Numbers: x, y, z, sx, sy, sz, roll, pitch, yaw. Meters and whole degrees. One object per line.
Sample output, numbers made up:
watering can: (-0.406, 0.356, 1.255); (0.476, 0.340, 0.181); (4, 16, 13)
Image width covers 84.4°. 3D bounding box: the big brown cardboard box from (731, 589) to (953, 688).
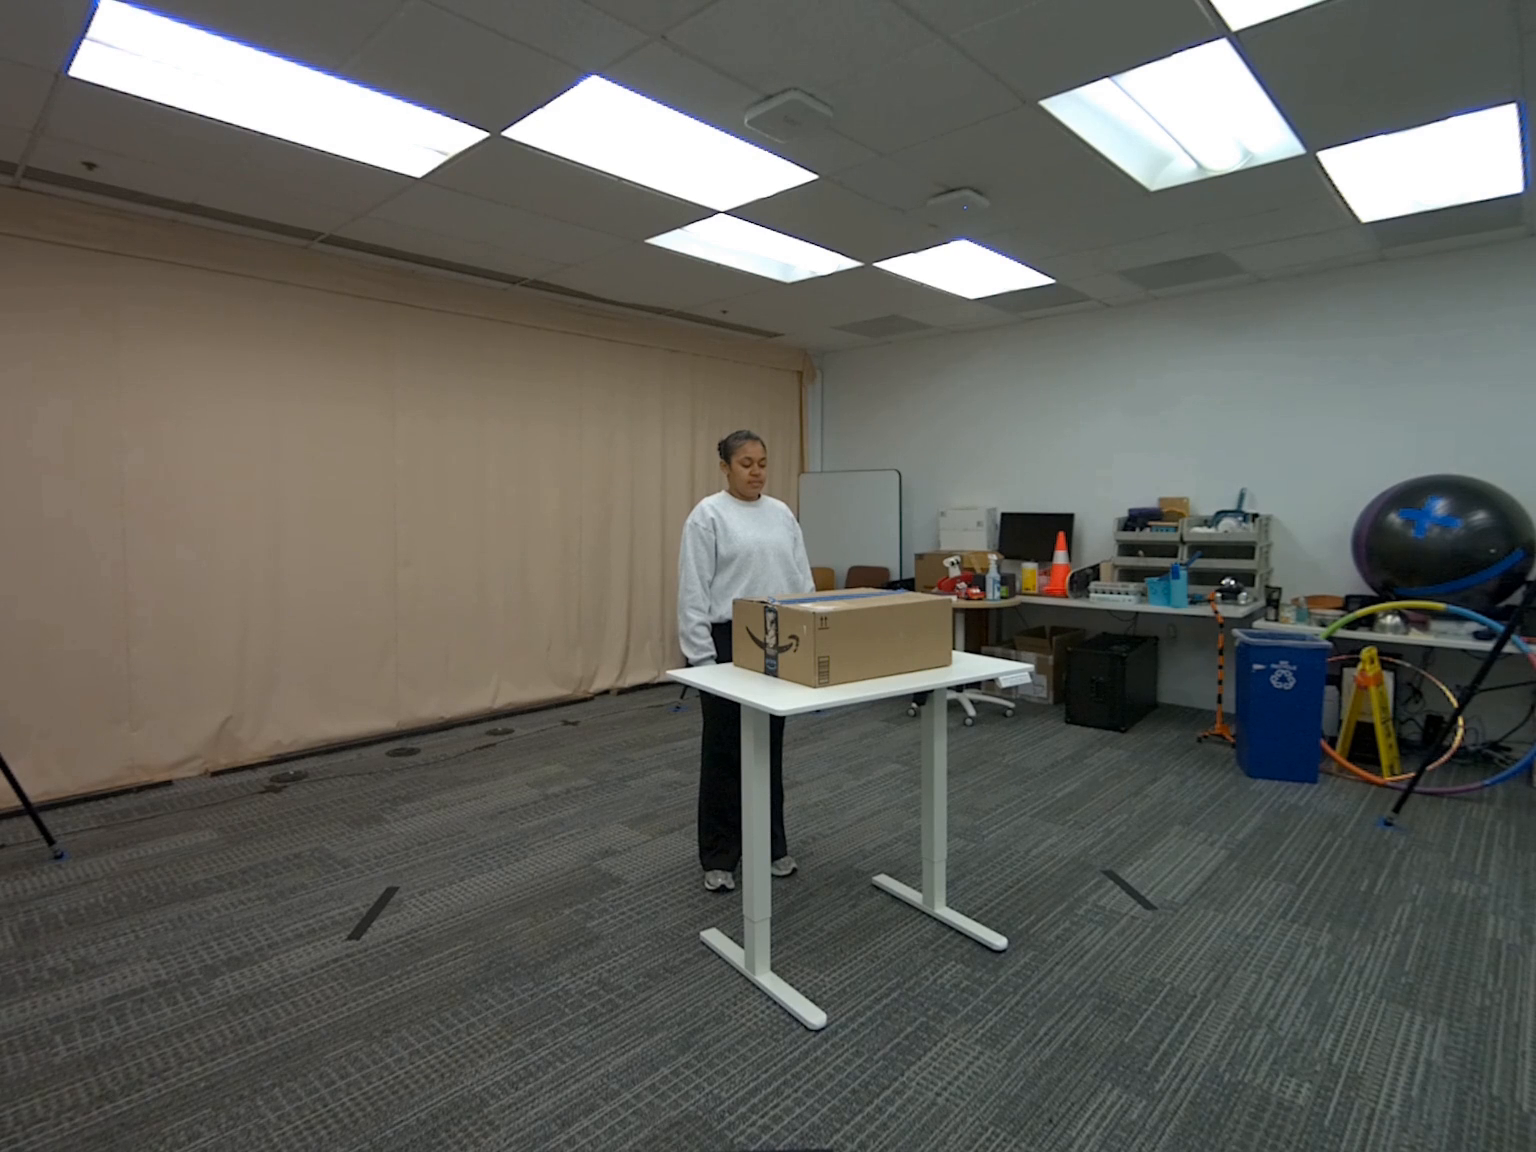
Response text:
big brown cardboard box: (0.238, 0.178, 2.662); (0.572, 0.233, 0.430); (-3, 5, -34)
